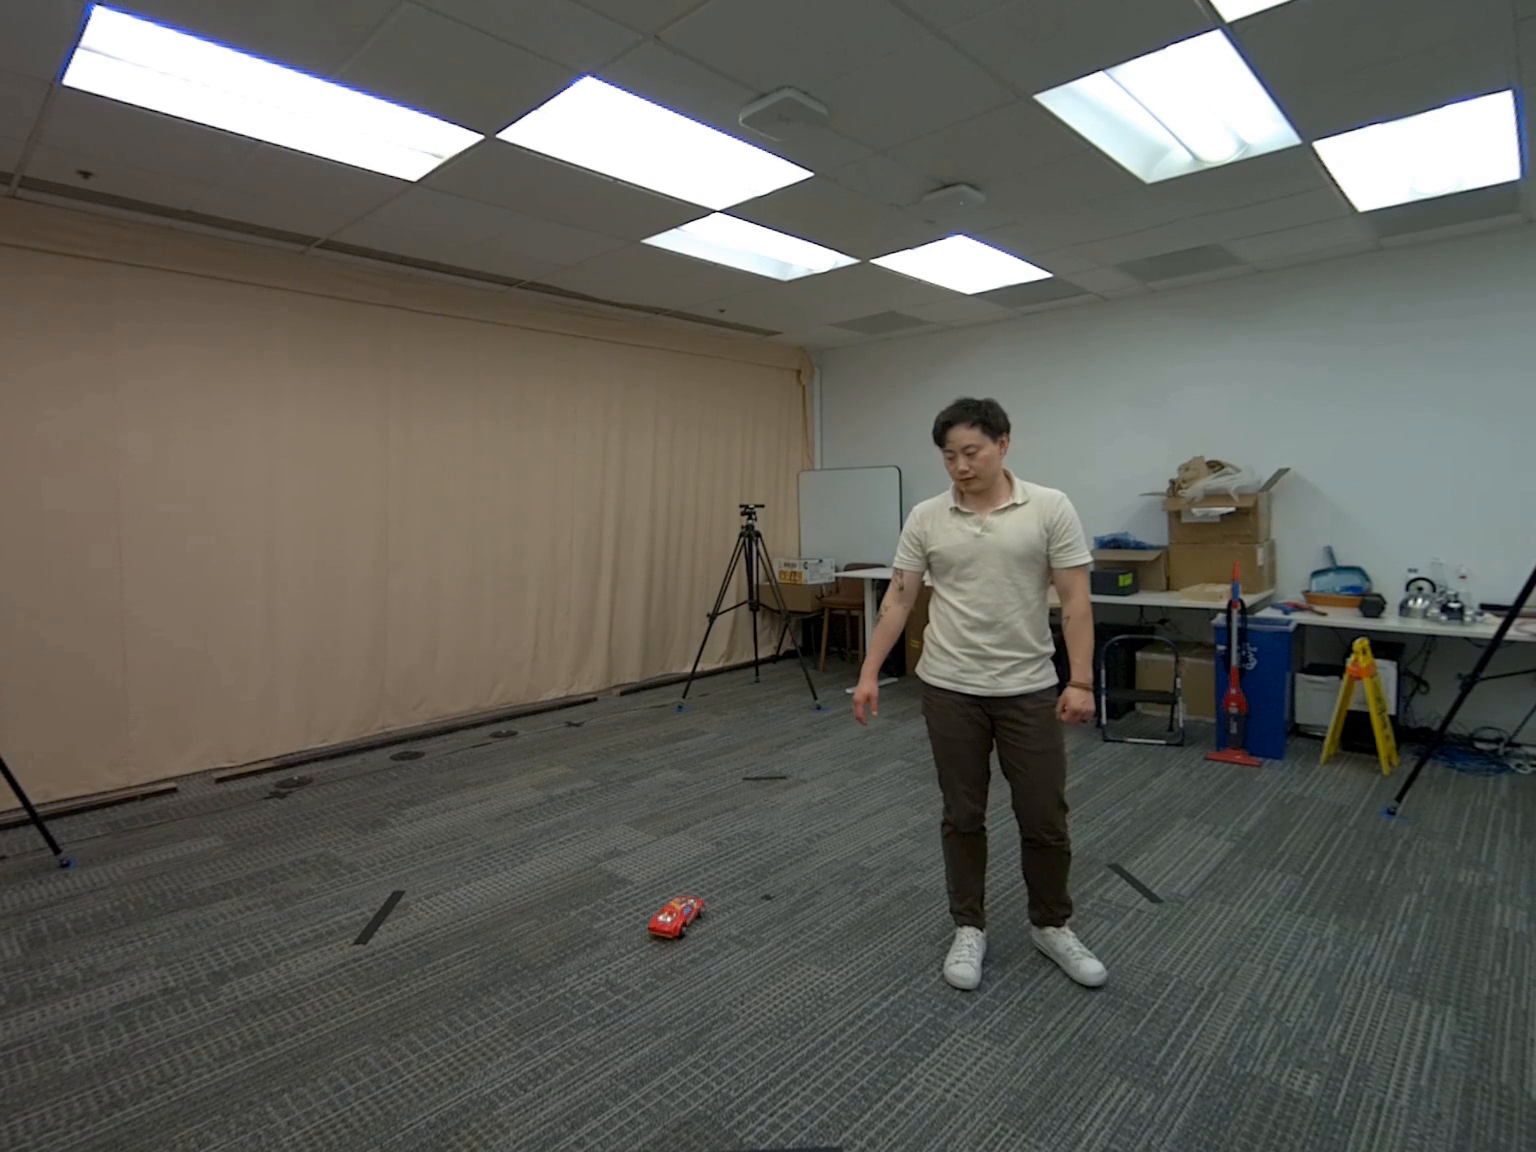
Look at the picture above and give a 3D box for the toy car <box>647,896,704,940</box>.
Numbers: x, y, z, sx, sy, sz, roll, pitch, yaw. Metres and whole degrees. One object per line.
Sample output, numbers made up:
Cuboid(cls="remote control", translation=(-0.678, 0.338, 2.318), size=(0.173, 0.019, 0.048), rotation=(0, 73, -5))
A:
Cuboid(cls="toy car", translation=(-0.302, 1.130, 2.782), size=(0.133, 0.083, 0.248), rotation=(1, -6, 22))
